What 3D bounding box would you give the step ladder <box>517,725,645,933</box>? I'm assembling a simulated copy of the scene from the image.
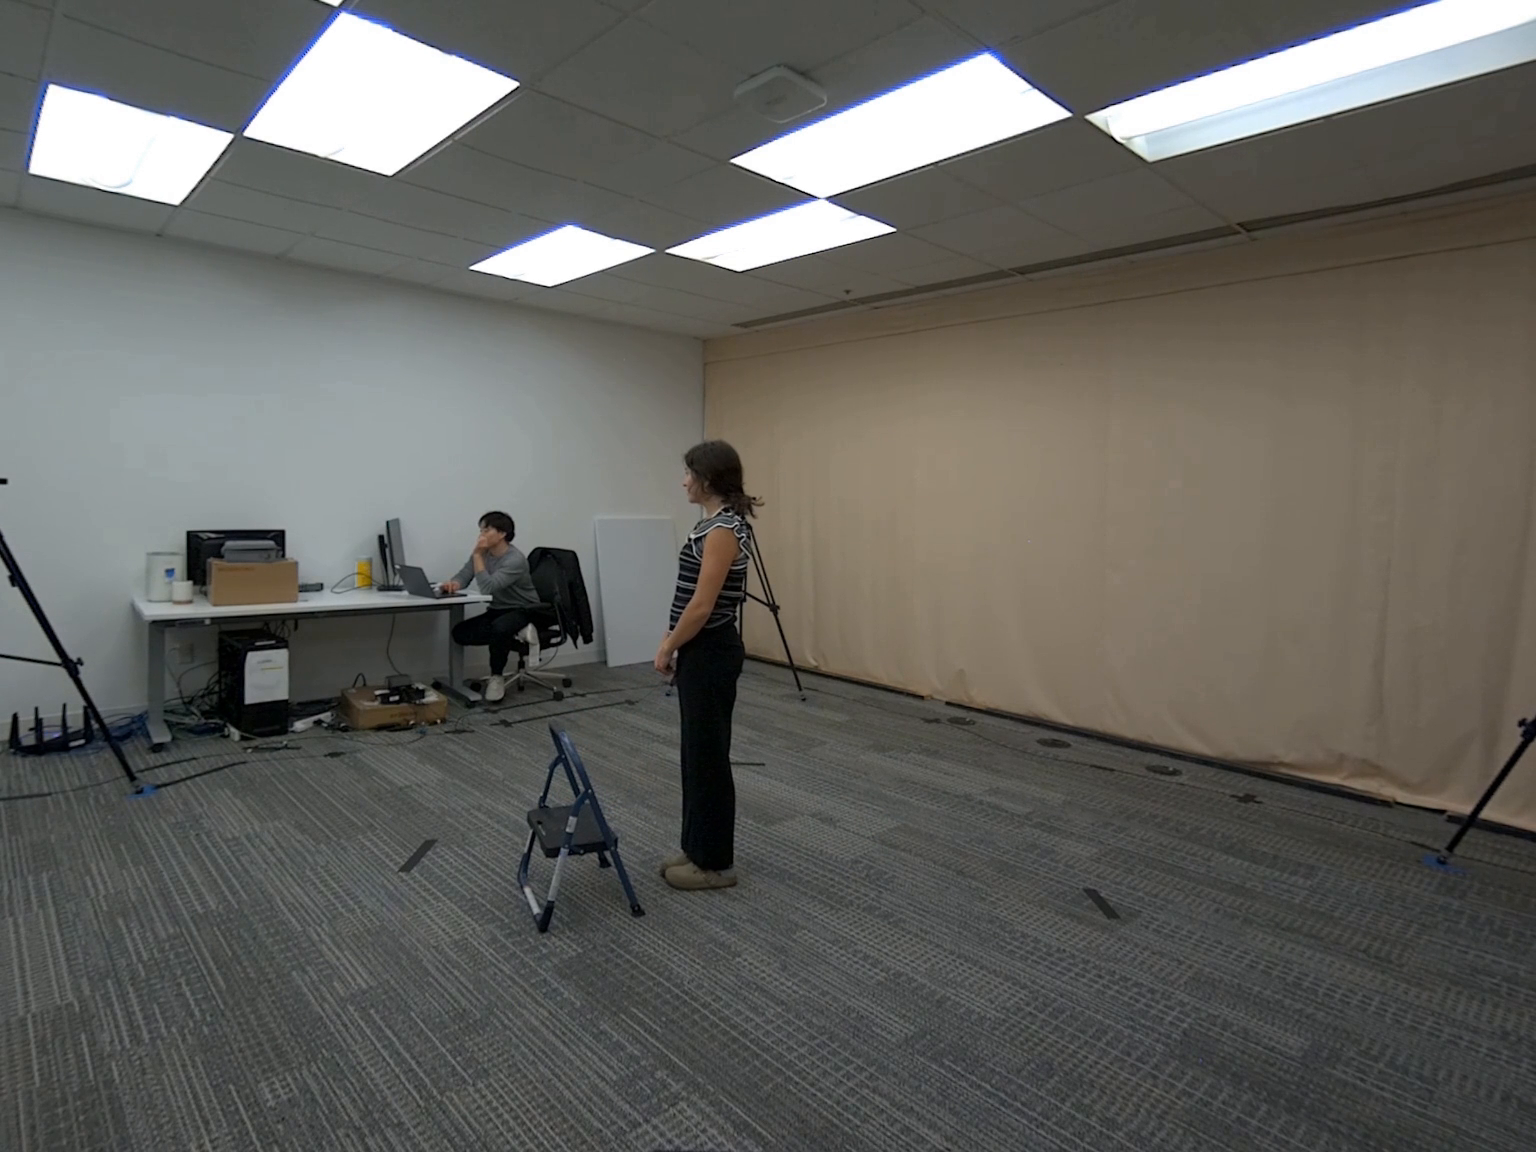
[{"bbox_3d":[-0.657,0.812,2.899,0.343,0.604,0.440,0,4,-26],"label":"step ladder"}]
